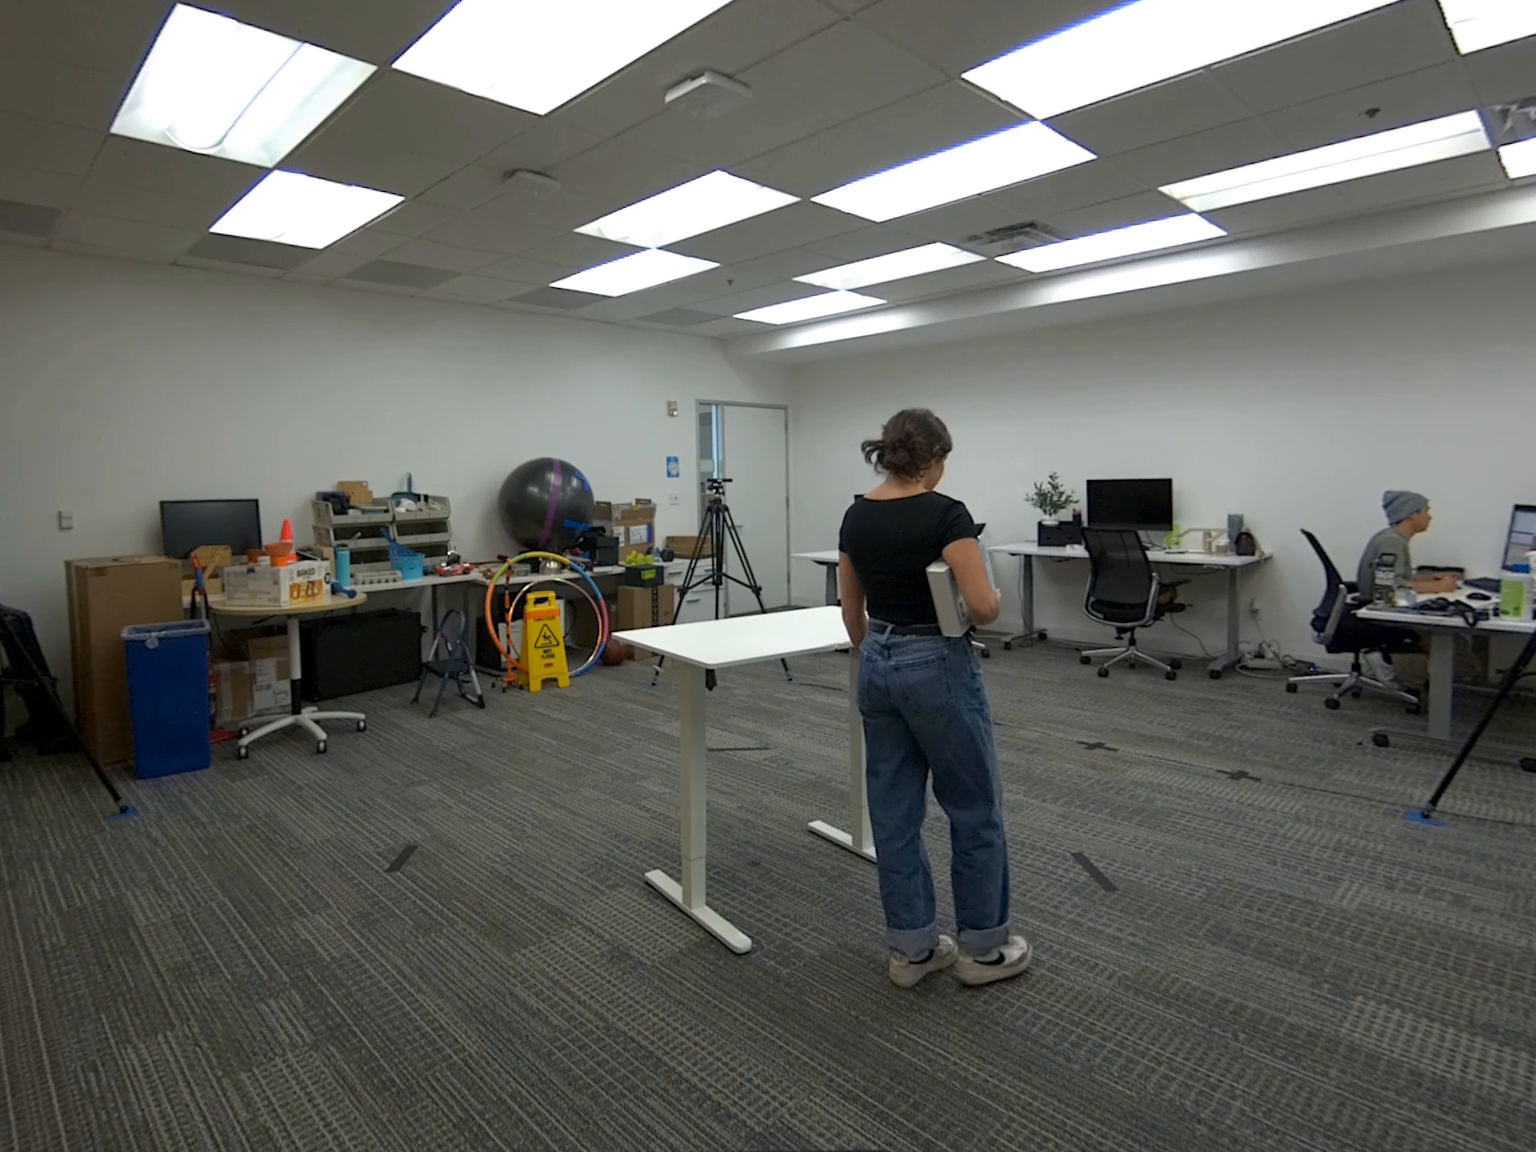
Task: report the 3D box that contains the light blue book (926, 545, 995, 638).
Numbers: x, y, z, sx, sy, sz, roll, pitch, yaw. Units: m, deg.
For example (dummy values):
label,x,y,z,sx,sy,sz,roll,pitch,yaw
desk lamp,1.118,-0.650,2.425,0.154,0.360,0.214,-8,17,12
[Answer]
label,x,y,z,sx,sy,sz,roll,pitch,yaw
light blue book,0.525,0.021,2.284,0.060,0.189,0.258,-6,17,41
